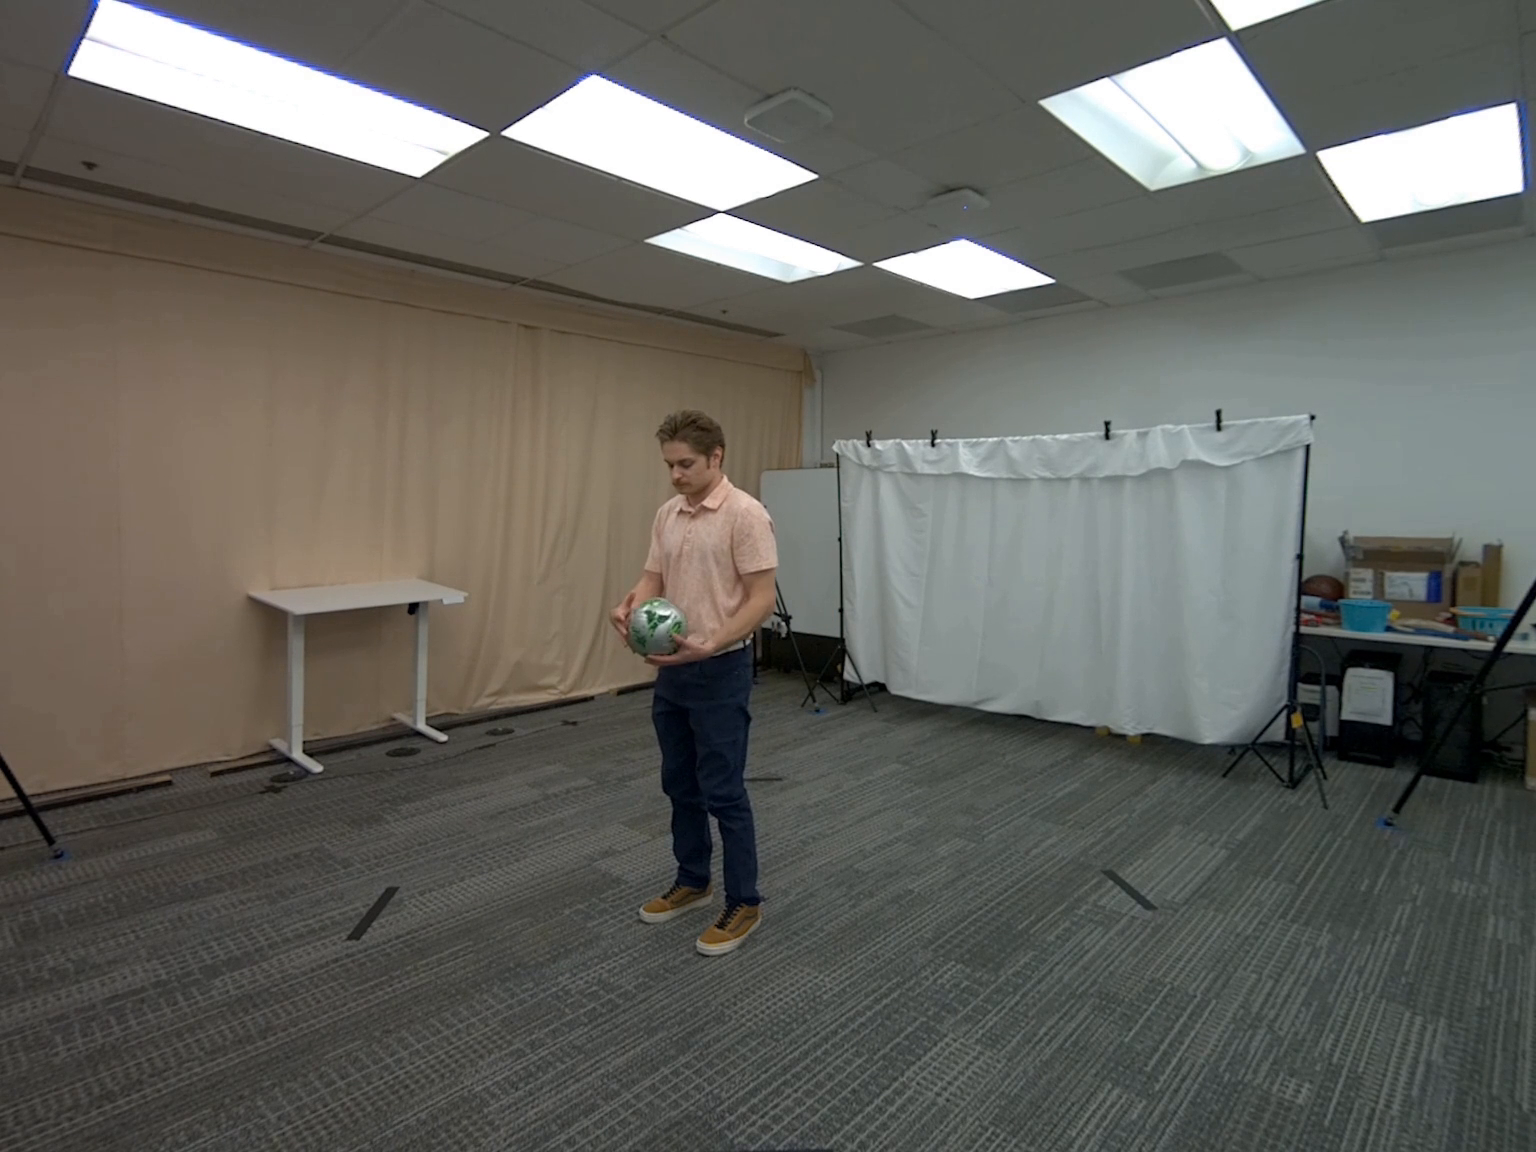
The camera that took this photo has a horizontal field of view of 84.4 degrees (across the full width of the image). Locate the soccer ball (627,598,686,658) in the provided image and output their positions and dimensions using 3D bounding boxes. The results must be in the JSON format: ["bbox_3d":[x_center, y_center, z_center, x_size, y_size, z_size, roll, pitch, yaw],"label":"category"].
[{"bbox_3d":[-0.340,0.157,2.531,0.187,0.187,0.188,0,4,-2],"label":"soccer ball"}]
